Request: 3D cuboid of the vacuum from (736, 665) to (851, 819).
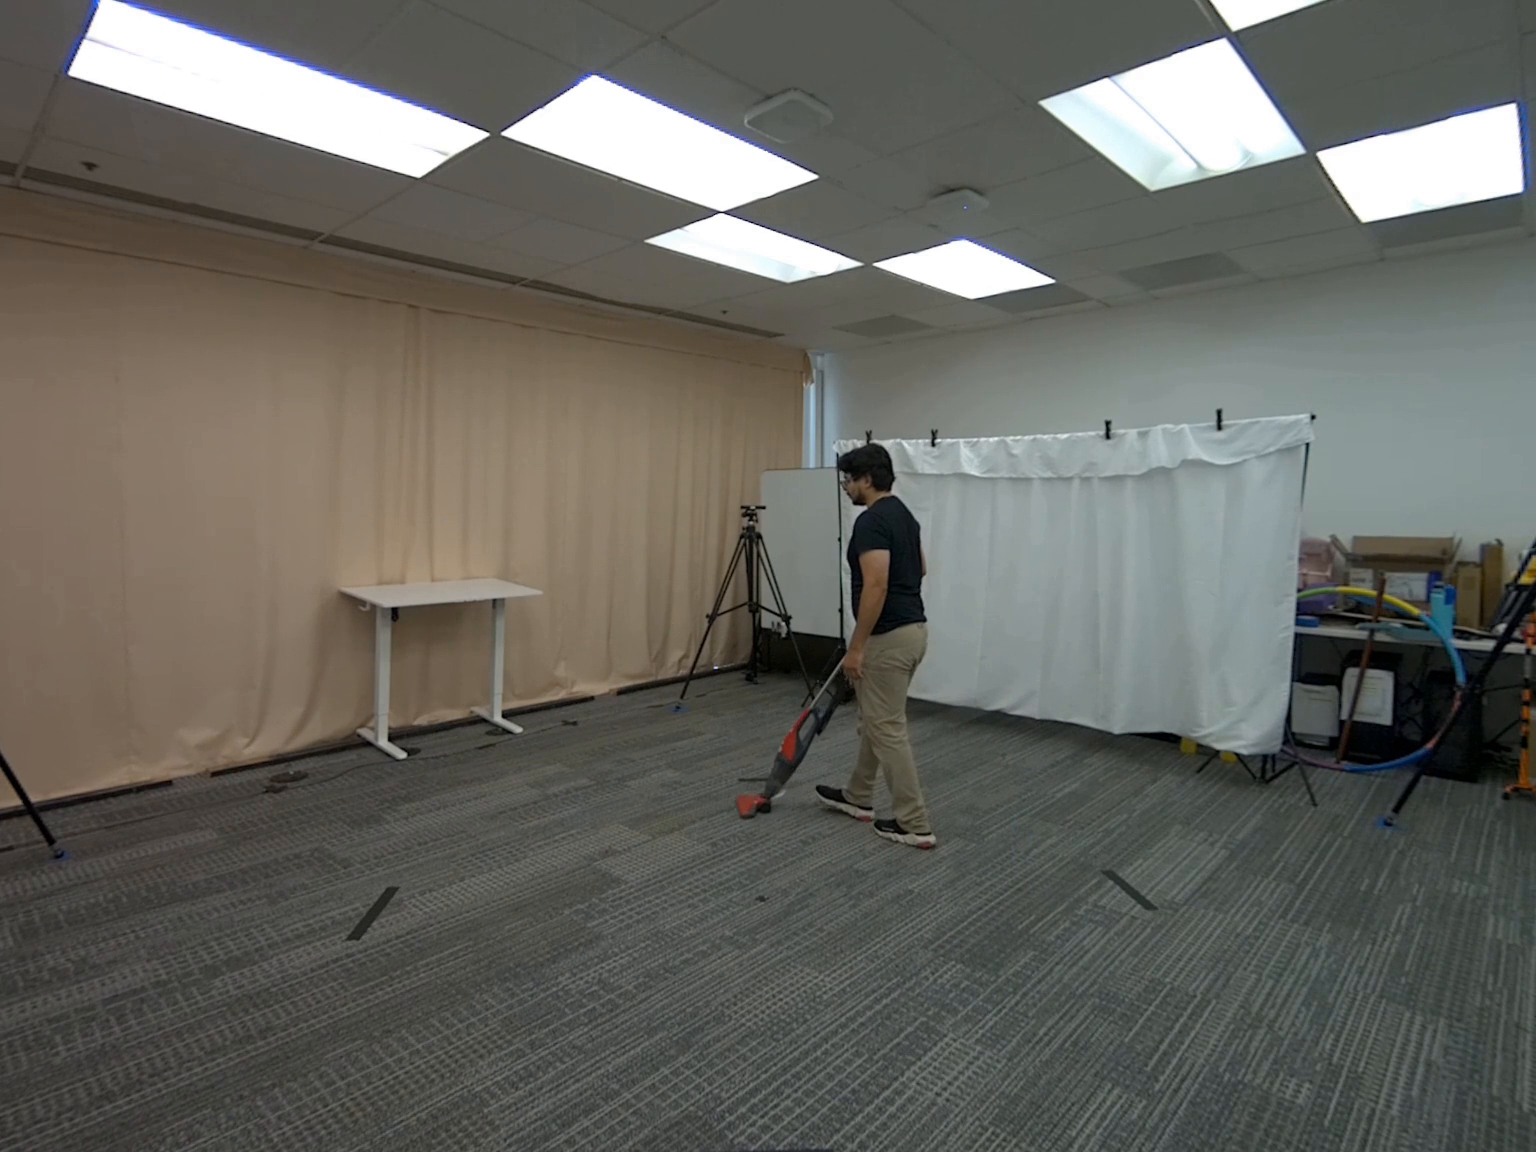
[{"bbox_3d":[0.232,0.637,3.879,0.142,1.049,0.255,34,-1,-9],"label":"vacuum"}]
